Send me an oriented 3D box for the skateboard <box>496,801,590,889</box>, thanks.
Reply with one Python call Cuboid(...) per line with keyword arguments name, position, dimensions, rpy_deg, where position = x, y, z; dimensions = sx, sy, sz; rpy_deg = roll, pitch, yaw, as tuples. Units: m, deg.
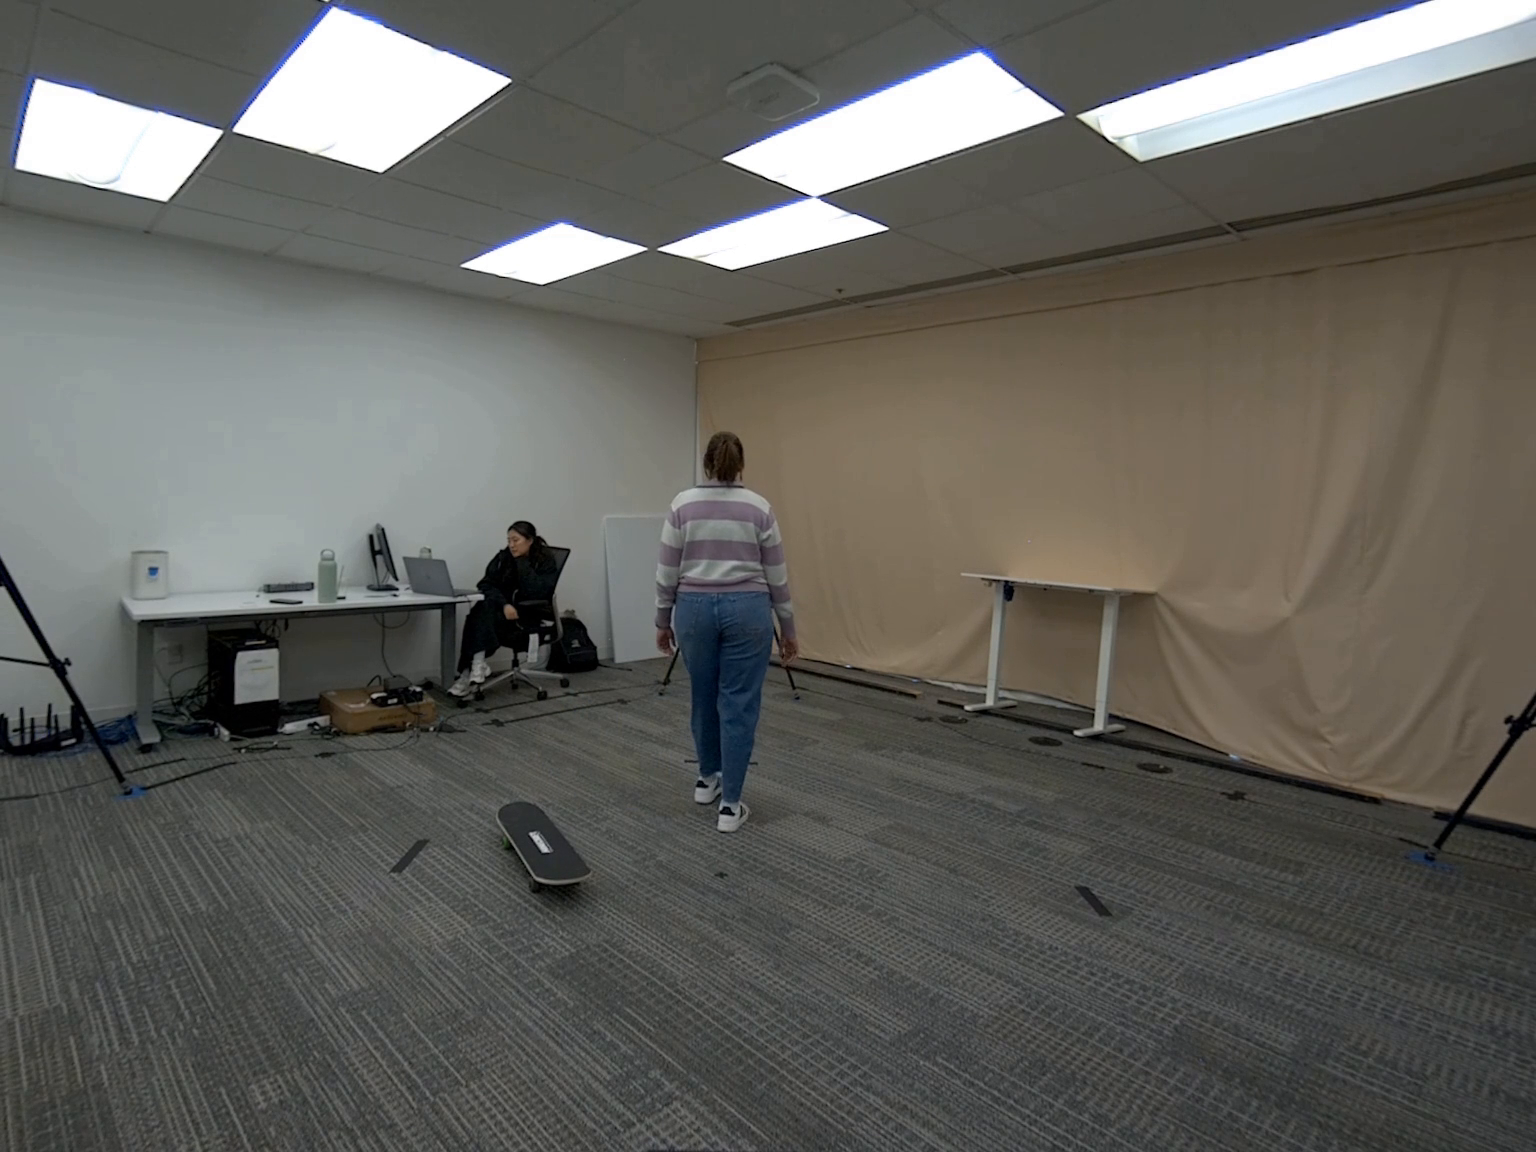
Cuboid(name="skateboard", position=(-0.854, 1.026, 3.149), dimensions=(0.189, 0.110, 0.803), rpy_deg=(-1, 6, -29))
